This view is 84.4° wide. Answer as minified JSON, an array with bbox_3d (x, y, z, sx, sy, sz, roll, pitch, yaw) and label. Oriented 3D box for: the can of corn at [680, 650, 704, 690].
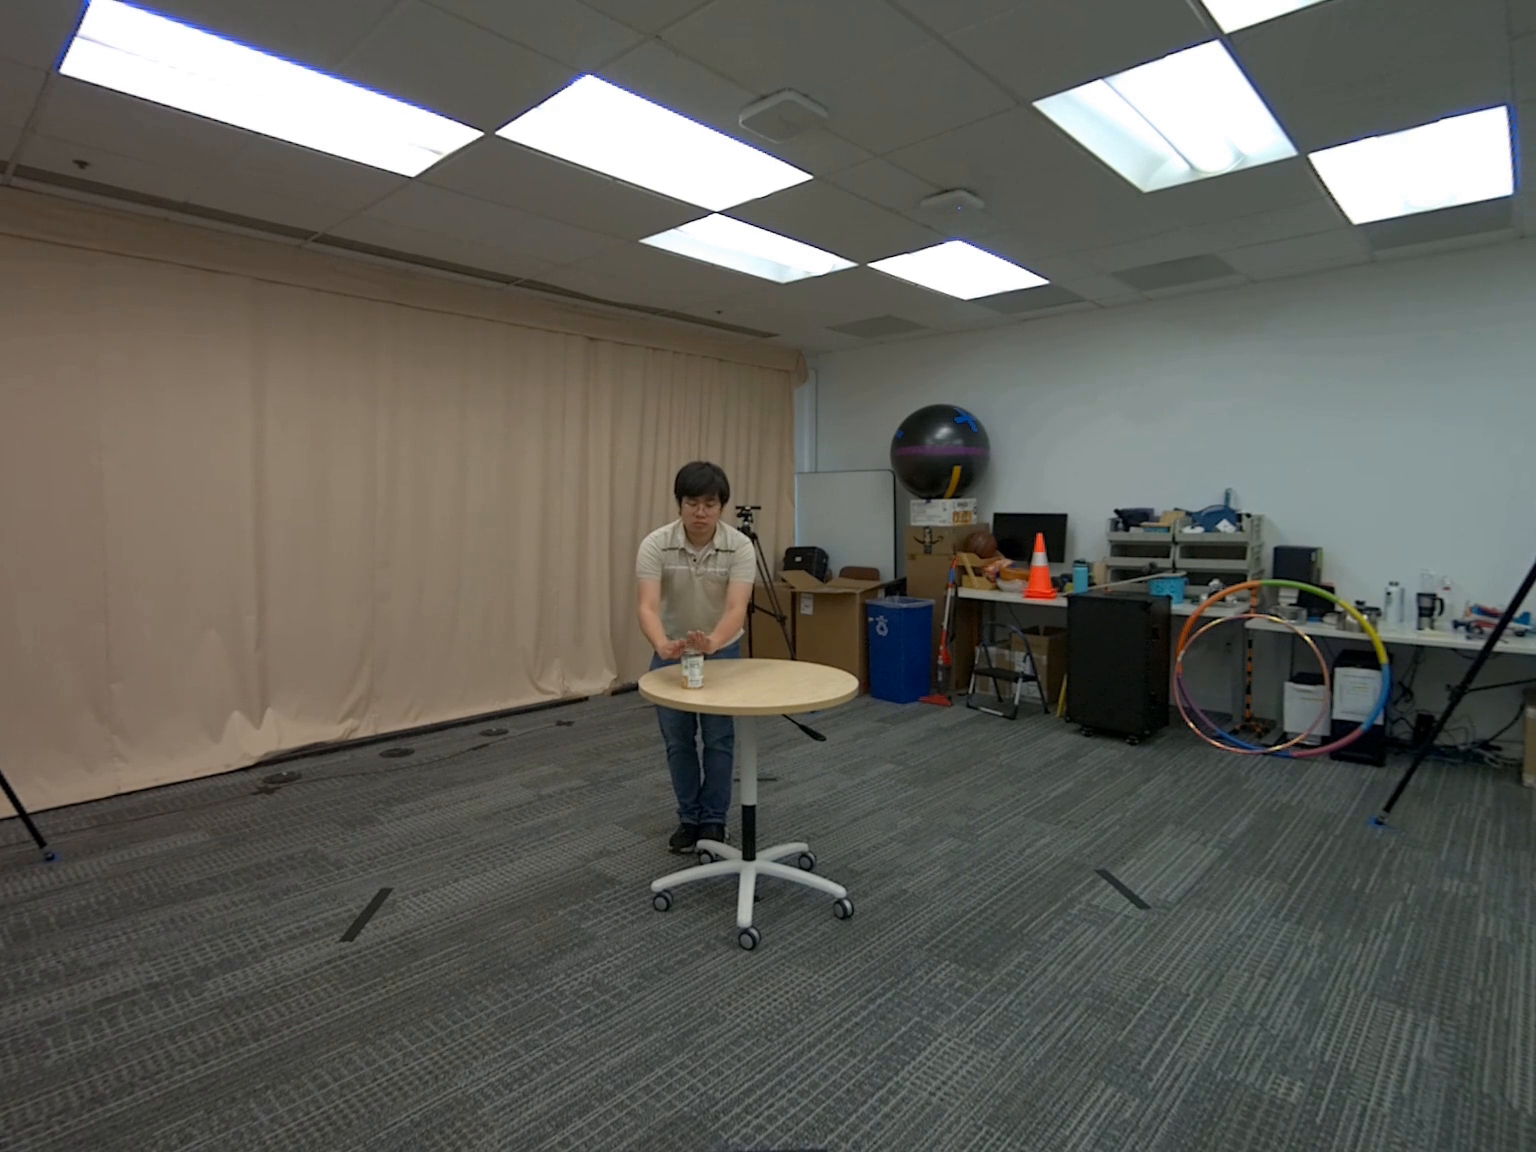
[{"bbox_3d":[-0.252,0.320,2.847,0.074,0.111,0.074,0,4,-2],"label":"can of corn"}]
